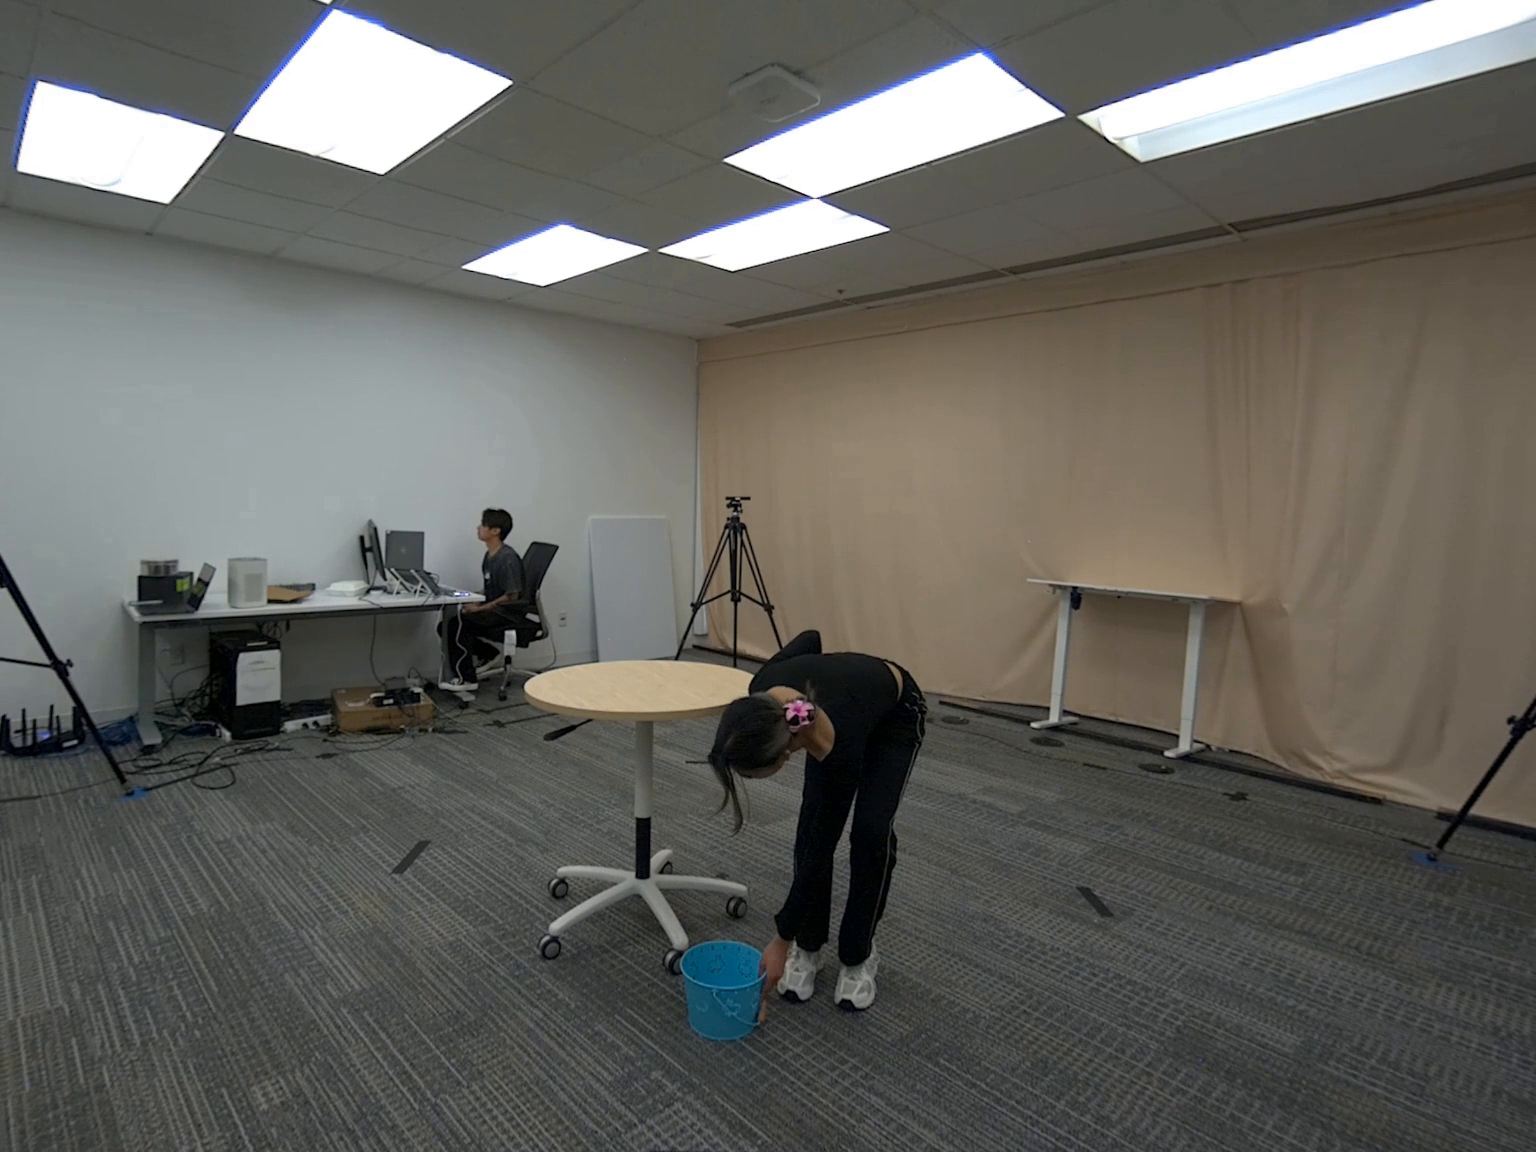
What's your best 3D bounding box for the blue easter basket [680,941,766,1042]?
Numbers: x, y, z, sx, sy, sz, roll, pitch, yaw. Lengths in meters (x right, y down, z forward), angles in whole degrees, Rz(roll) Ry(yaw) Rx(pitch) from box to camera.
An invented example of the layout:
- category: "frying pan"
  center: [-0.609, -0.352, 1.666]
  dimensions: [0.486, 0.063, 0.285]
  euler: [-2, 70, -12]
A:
- category: "blue easter basket"
  center: [-0.117, 1.102, 2.247]
  dimensions: [0.243, 0.155, 0.245]
  euler: [1, 7, -1]
